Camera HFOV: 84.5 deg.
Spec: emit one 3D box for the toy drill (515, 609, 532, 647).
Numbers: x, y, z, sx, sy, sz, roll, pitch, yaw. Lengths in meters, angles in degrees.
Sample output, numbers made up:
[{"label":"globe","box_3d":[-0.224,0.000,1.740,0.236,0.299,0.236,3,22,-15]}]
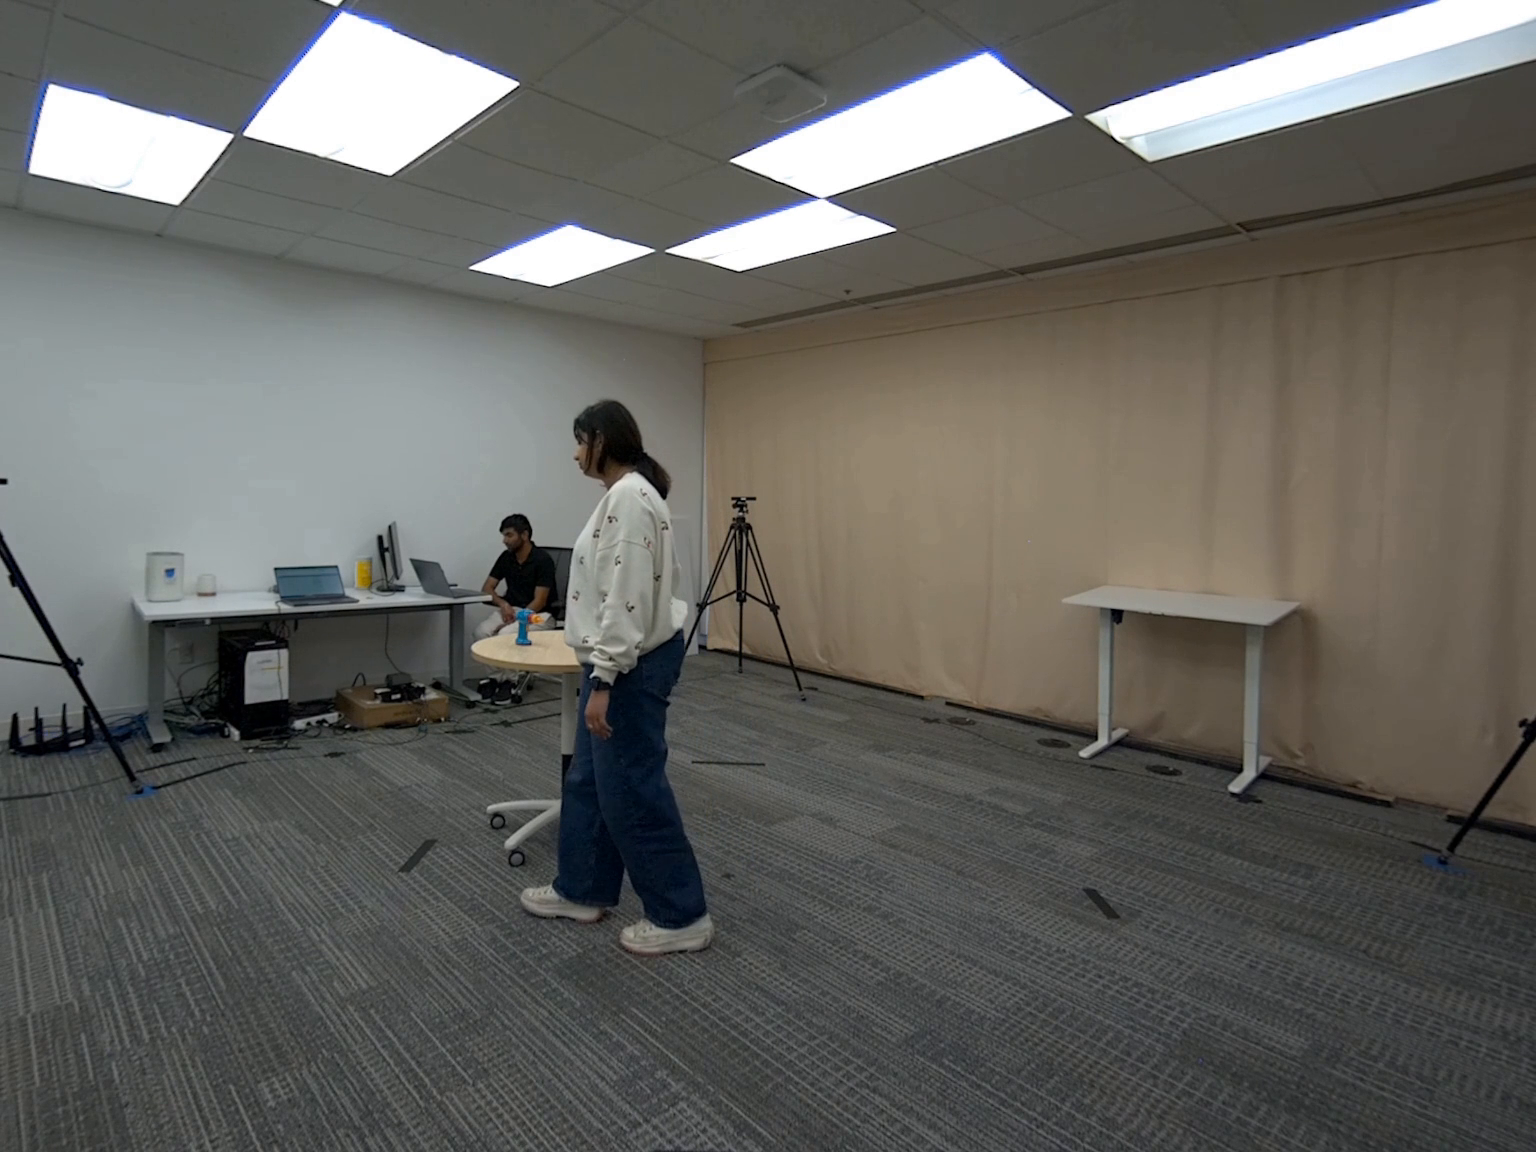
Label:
[{"label":"toy drill","box_3d":[-0.967,0.207,3.374,0.173,0.146,0.060,3,2,32]}]
